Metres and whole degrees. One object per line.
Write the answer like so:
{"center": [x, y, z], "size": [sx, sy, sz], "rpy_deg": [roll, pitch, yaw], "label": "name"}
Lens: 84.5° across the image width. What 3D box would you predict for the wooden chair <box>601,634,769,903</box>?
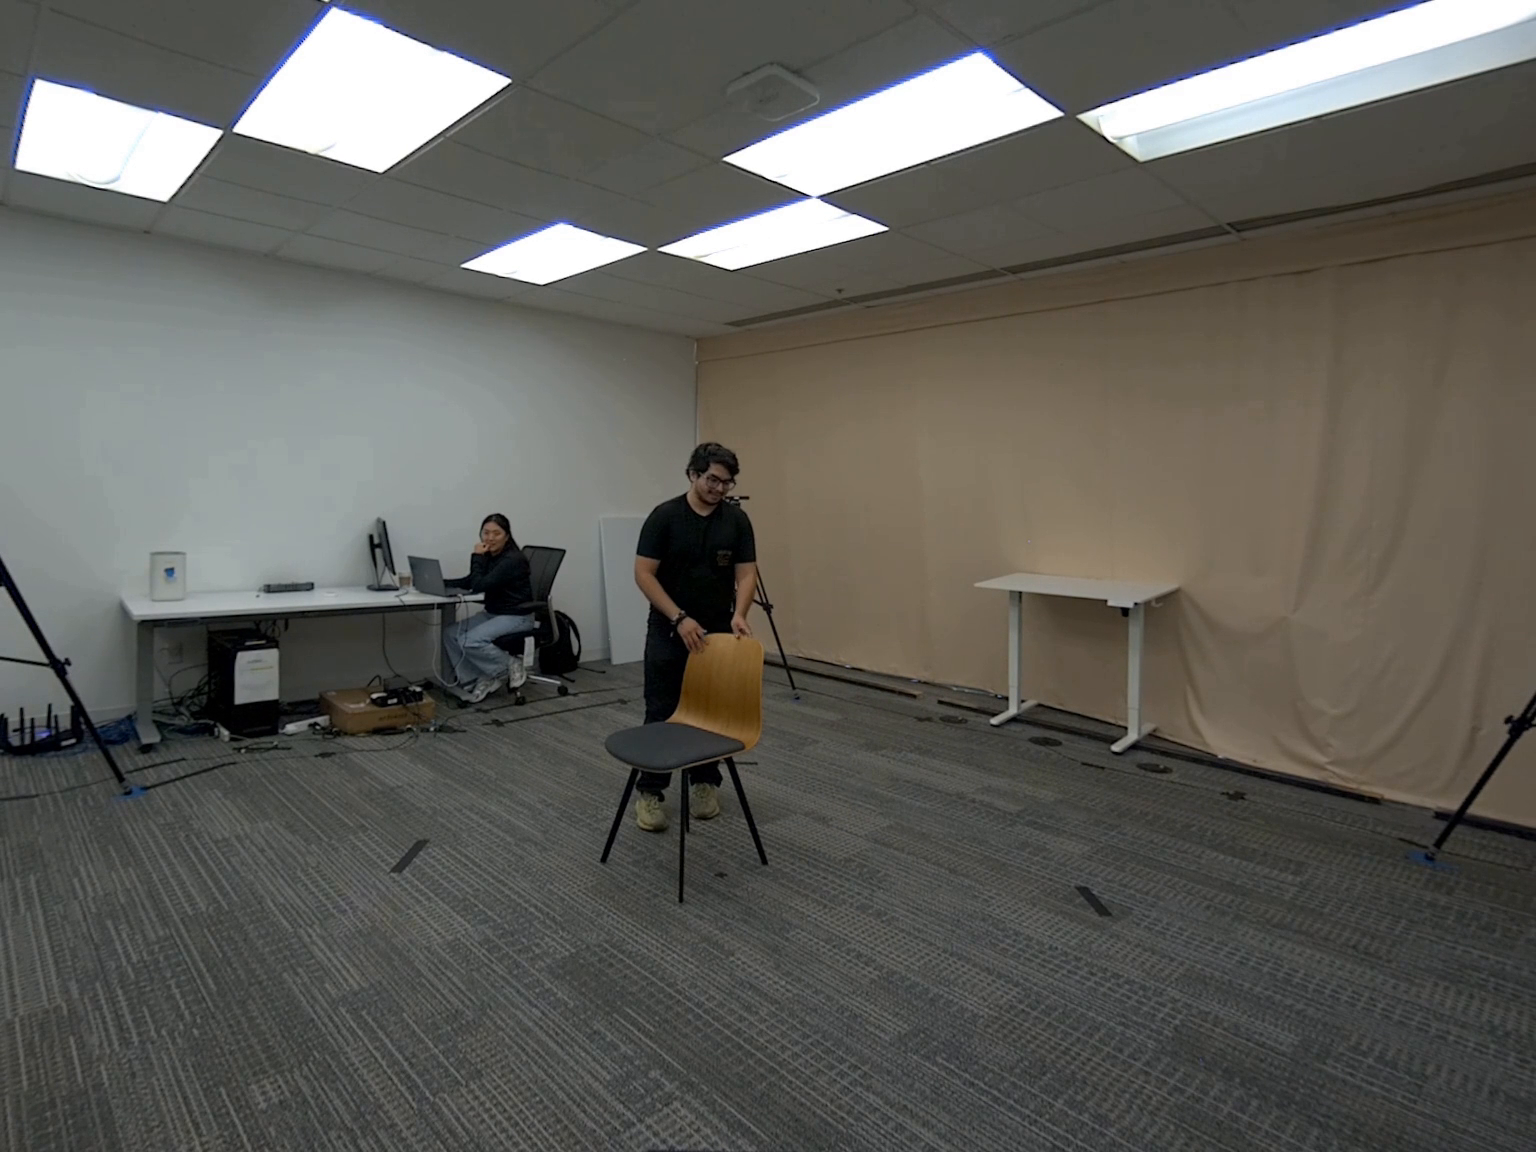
{"center": [-0.315, 0.669, 3.153], "size": [0.490, 0.877, 0.510], "rpy_deg": [5, 1, 43], "label": "wooden chair"}
